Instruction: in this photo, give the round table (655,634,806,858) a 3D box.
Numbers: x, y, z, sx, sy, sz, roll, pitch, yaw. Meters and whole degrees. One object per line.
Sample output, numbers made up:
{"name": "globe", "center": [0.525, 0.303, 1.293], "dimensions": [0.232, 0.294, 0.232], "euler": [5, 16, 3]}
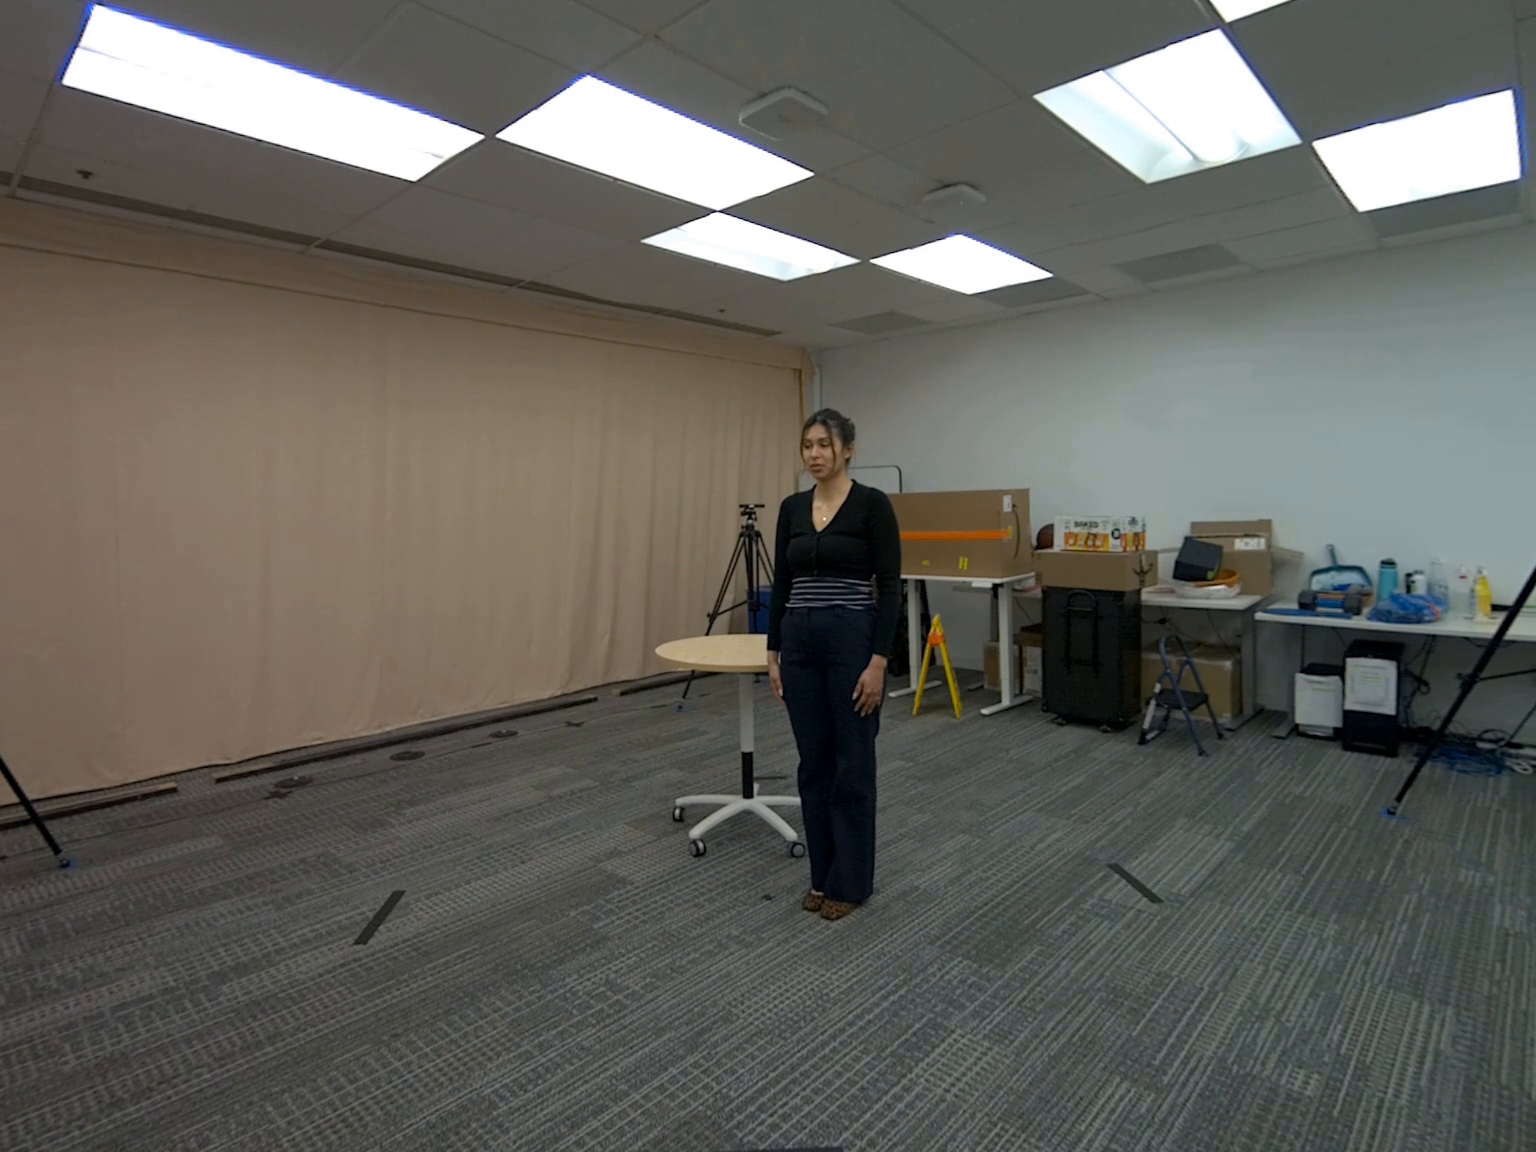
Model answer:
{"name": "round table", "center": [-0.090, 0.698, 3.595], "dimensions": [0.763, 0.792, 0.766], "euler": [-1, 3, -2]}
